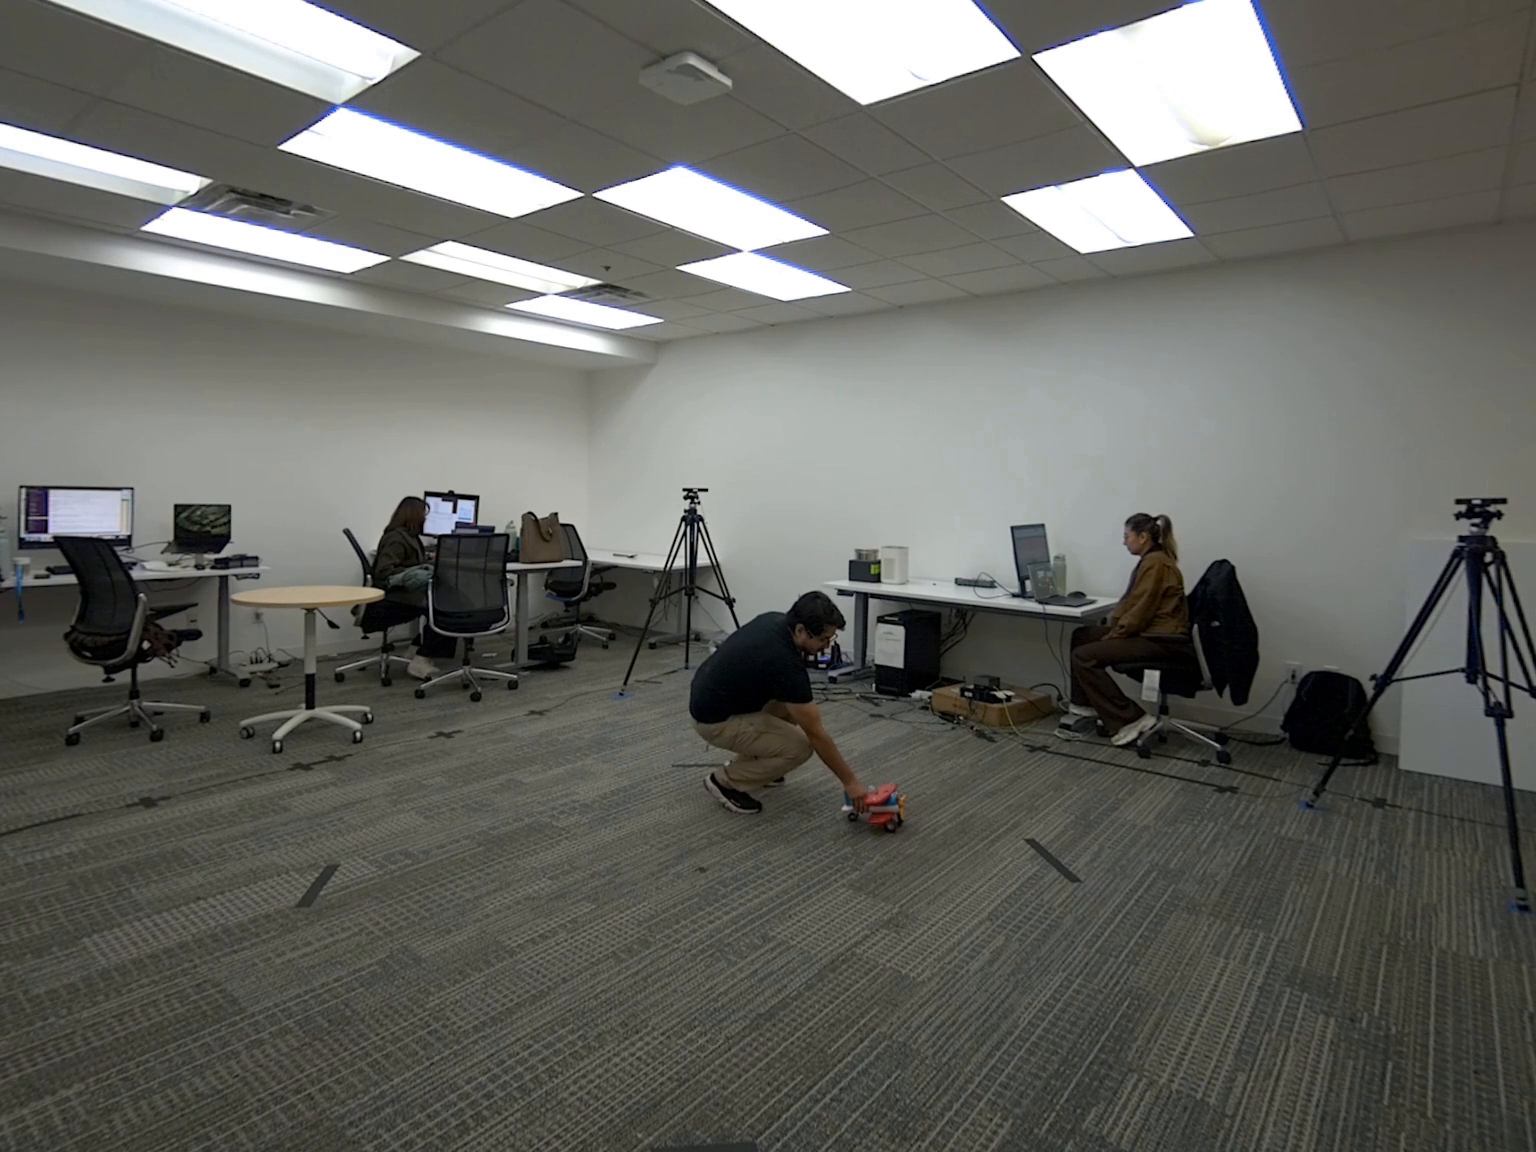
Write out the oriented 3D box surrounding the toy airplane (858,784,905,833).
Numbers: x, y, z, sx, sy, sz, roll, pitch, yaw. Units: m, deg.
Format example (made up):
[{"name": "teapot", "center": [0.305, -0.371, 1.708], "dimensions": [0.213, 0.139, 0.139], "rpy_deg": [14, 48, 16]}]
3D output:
[{"name": "toy airplane", "center": [0.436, 0.967, 3.553], "dimensions": [0.259, 0.156, 0.252], "rpy_deg": [2, 5, -2]}]
